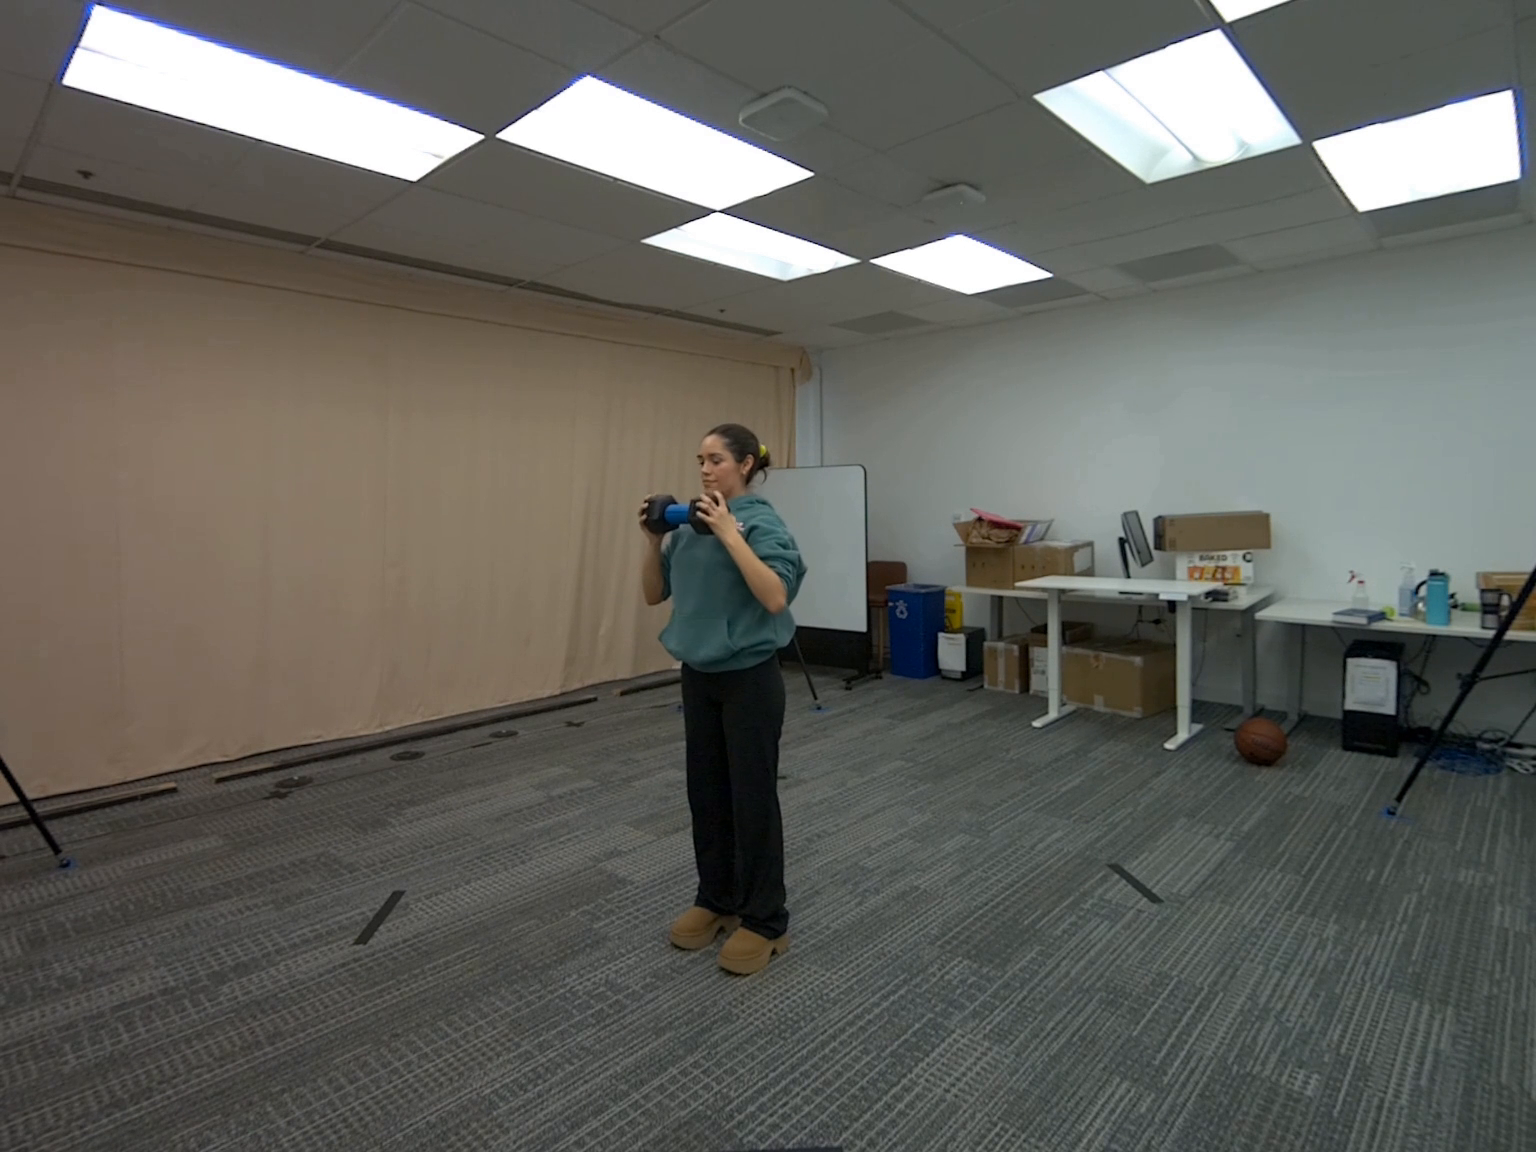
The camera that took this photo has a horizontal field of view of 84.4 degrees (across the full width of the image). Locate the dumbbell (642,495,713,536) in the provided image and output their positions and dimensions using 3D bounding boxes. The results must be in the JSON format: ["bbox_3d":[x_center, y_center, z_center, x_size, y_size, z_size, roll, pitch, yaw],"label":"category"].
[{"bbox_3d":[-0.241,-0.171,2.512,0.303,0.119,0.108,2,48,45],"label":"dumbbell"}]
